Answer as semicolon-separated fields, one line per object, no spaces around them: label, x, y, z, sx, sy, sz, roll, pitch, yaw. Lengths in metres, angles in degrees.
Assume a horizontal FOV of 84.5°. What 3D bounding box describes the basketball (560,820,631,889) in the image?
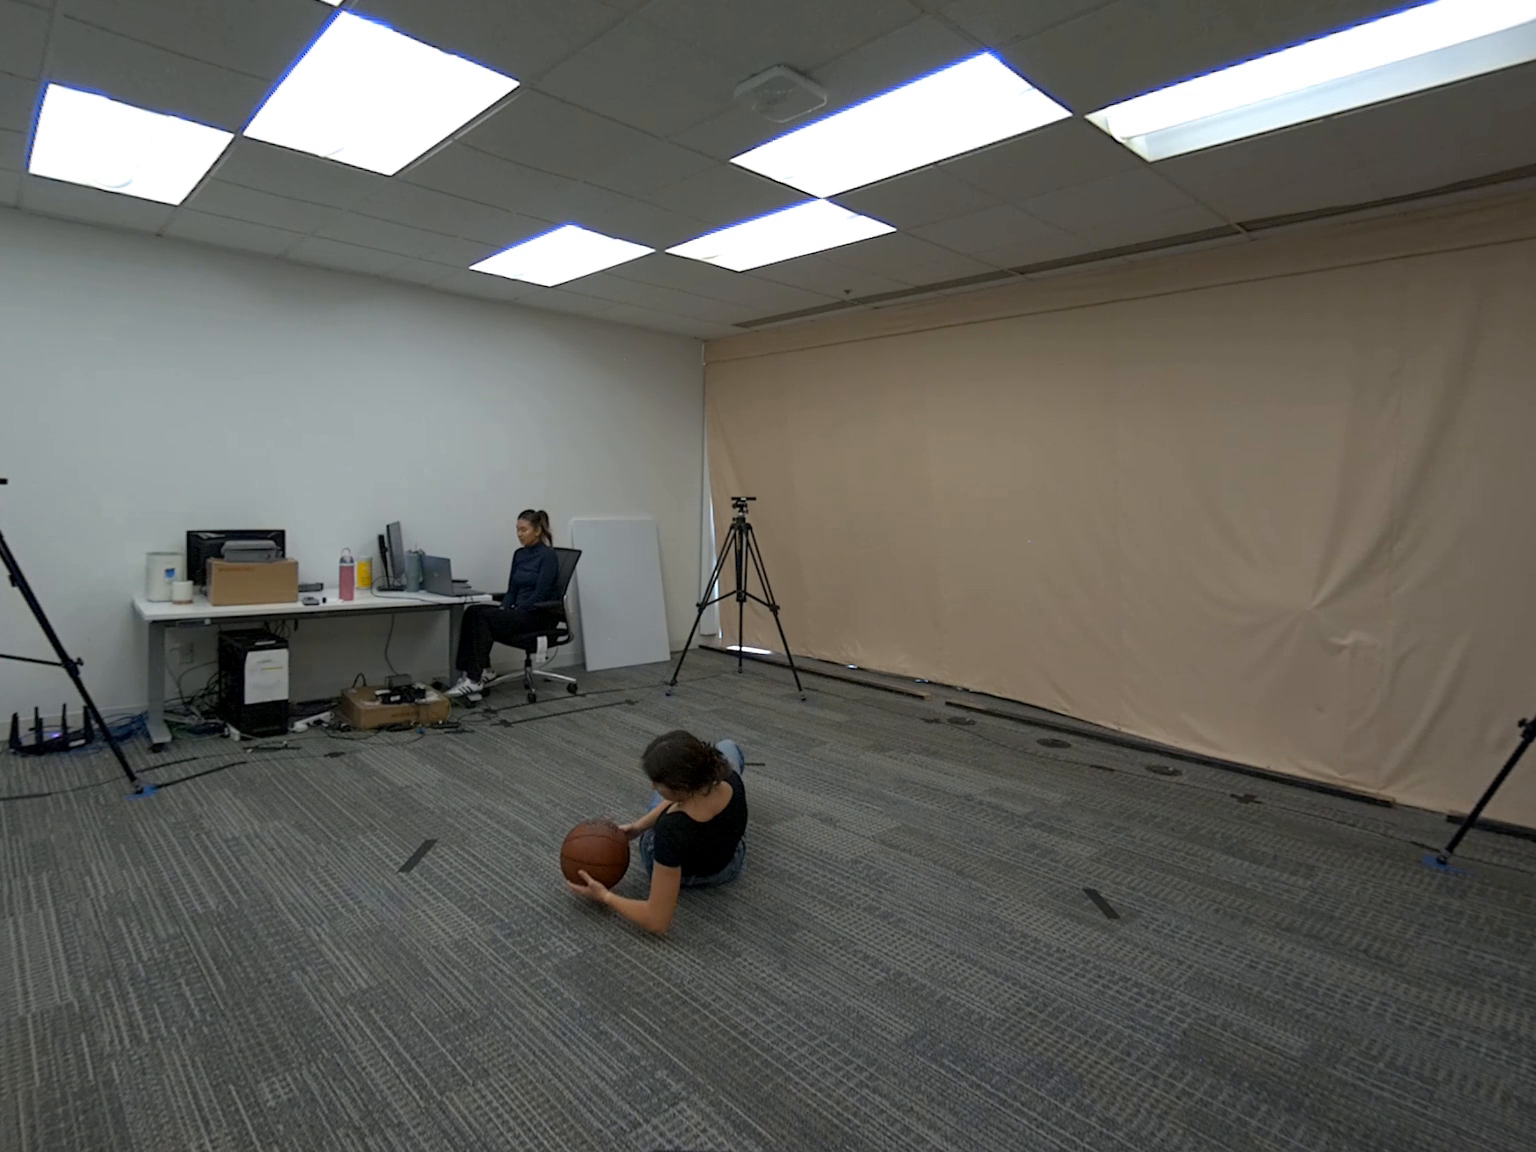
basketball;-0.589;0.935;2.893;0.236;0.235;0.237;1;4;-1
